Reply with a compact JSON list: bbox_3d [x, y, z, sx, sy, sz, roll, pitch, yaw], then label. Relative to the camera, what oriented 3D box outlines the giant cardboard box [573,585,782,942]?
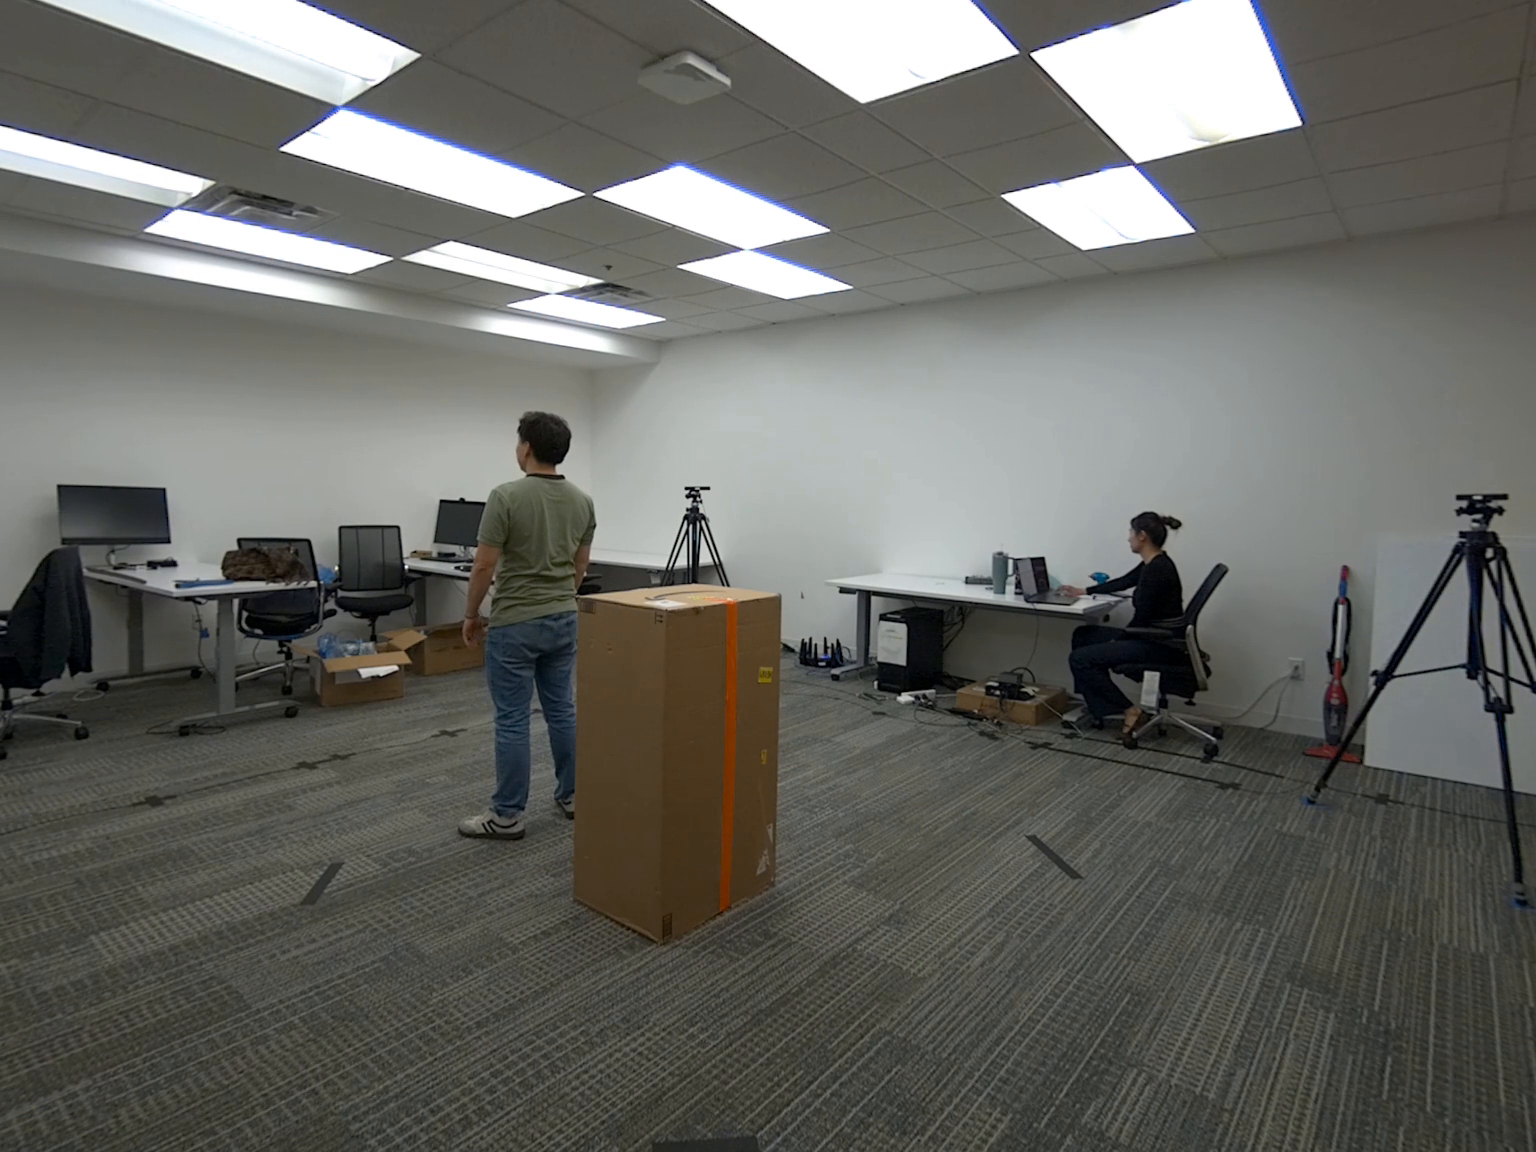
[{"bbox_3d":[-0.308,0.574,2.902,0.440,1.023,0.560,3,4,40],"label":"giant cardboard box"}]
